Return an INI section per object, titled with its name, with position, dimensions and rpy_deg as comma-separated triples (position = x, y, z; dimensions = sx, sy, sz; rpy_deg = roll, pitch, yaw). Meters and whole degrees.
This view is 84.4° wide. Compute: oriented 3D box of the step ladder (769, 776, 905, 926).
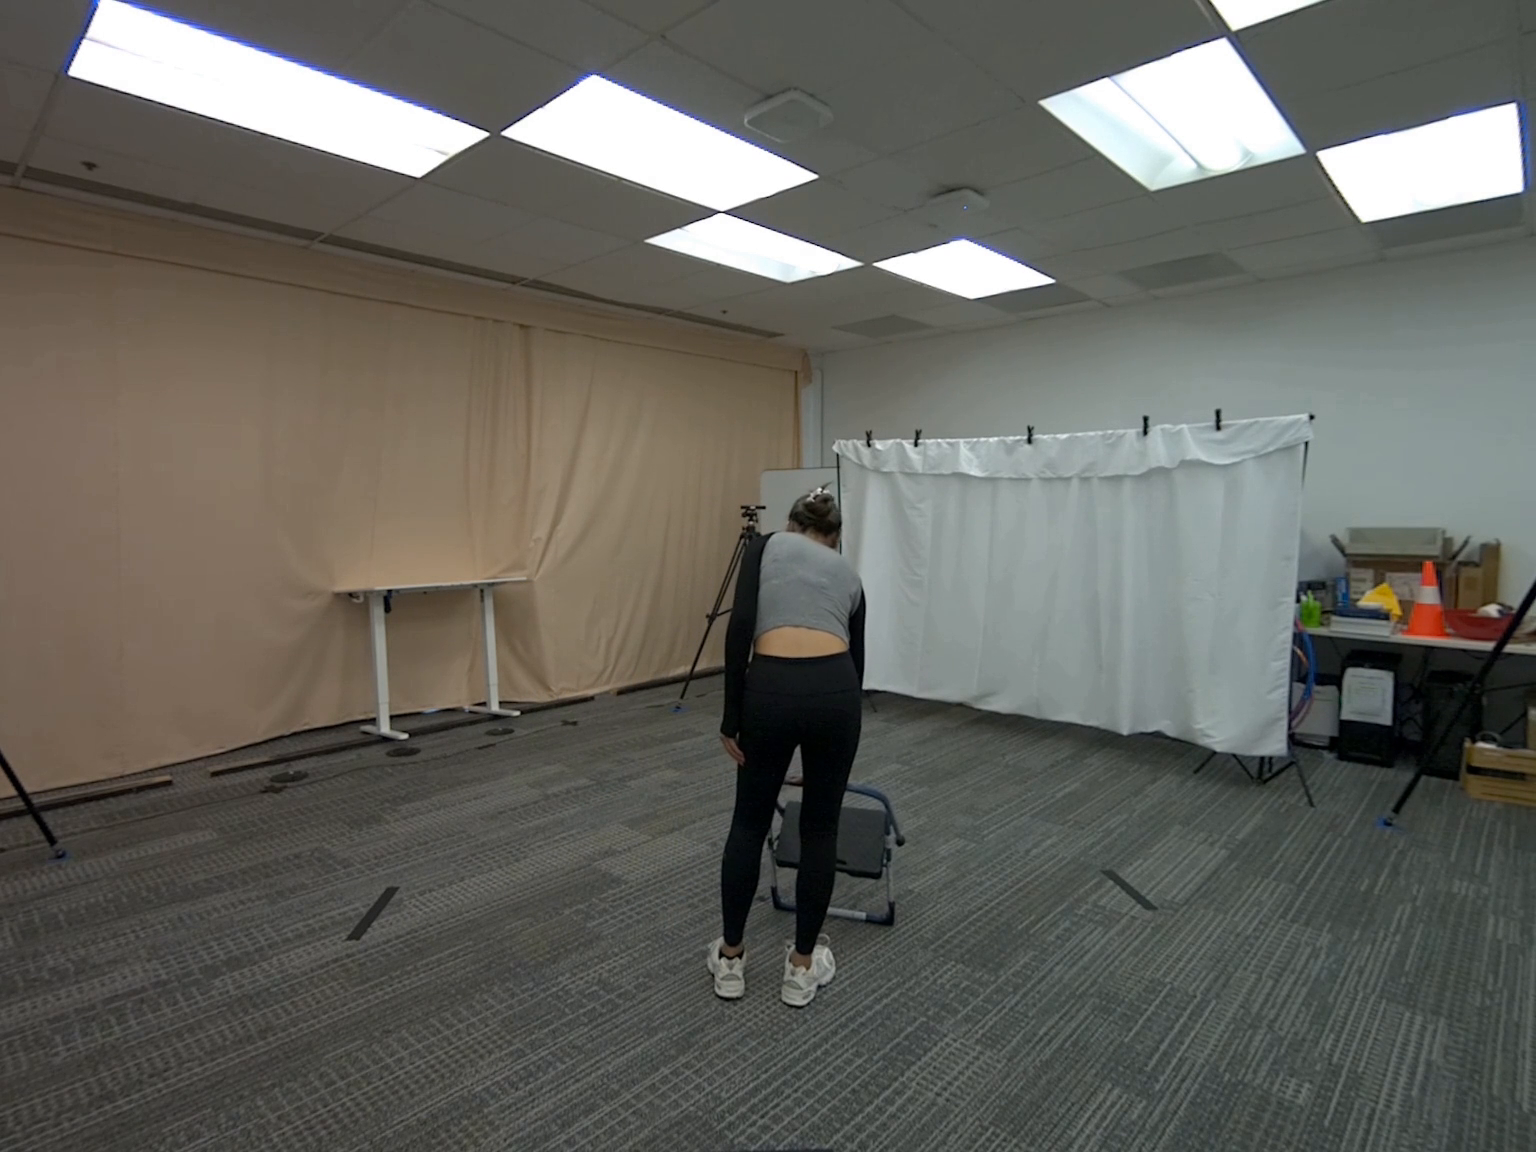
[step ladder]
position = 0.210, 0.821, 2.807
dimensions = 0.438, 0.592, 0.351
rpy_deg = 1, 39, 16
